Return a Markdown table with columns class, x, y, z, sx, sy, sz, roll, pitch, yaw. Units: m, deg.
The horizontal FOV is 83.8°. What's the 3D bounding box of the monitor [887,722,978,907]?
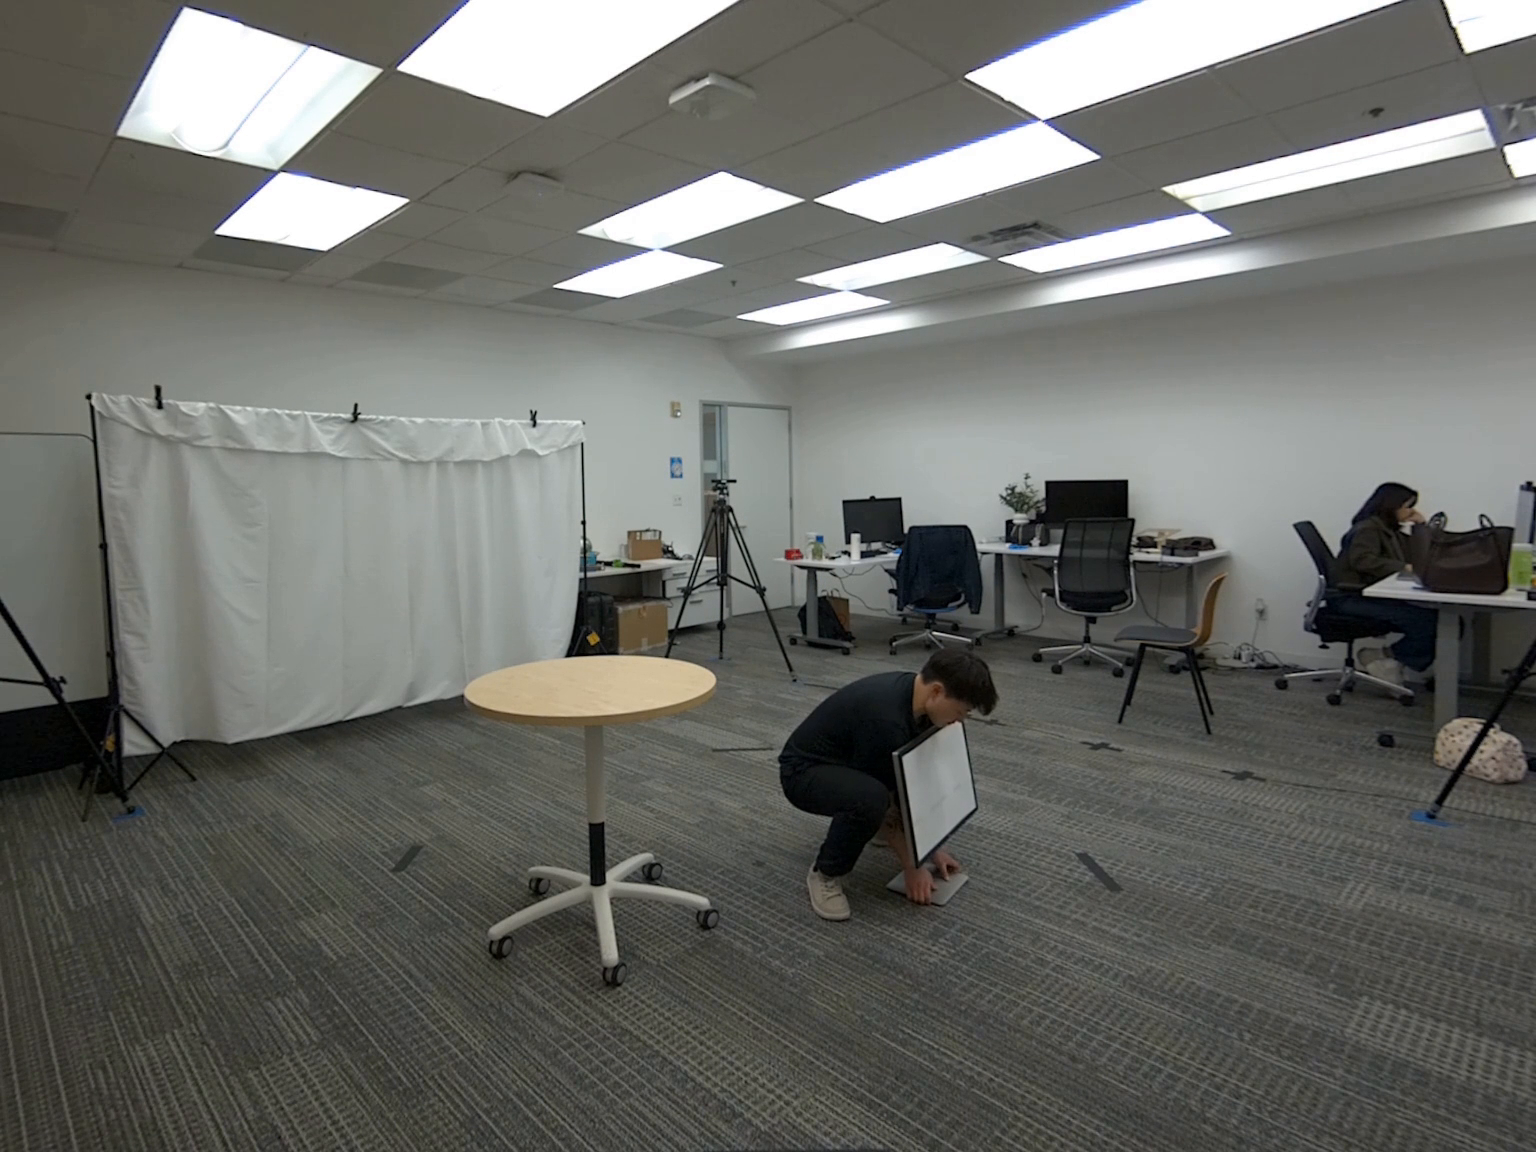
| class | x | y | z | sx | sy | sz | roll | pitch | yaw |
| --- | --- | --- | --- | --- | --- | --- | --- | --- | --- |
| monitor | 0.544 | 0.788 | 2.900 | 0.192 | 0.520 | 0.527 | 4 | 7 | 31 |
